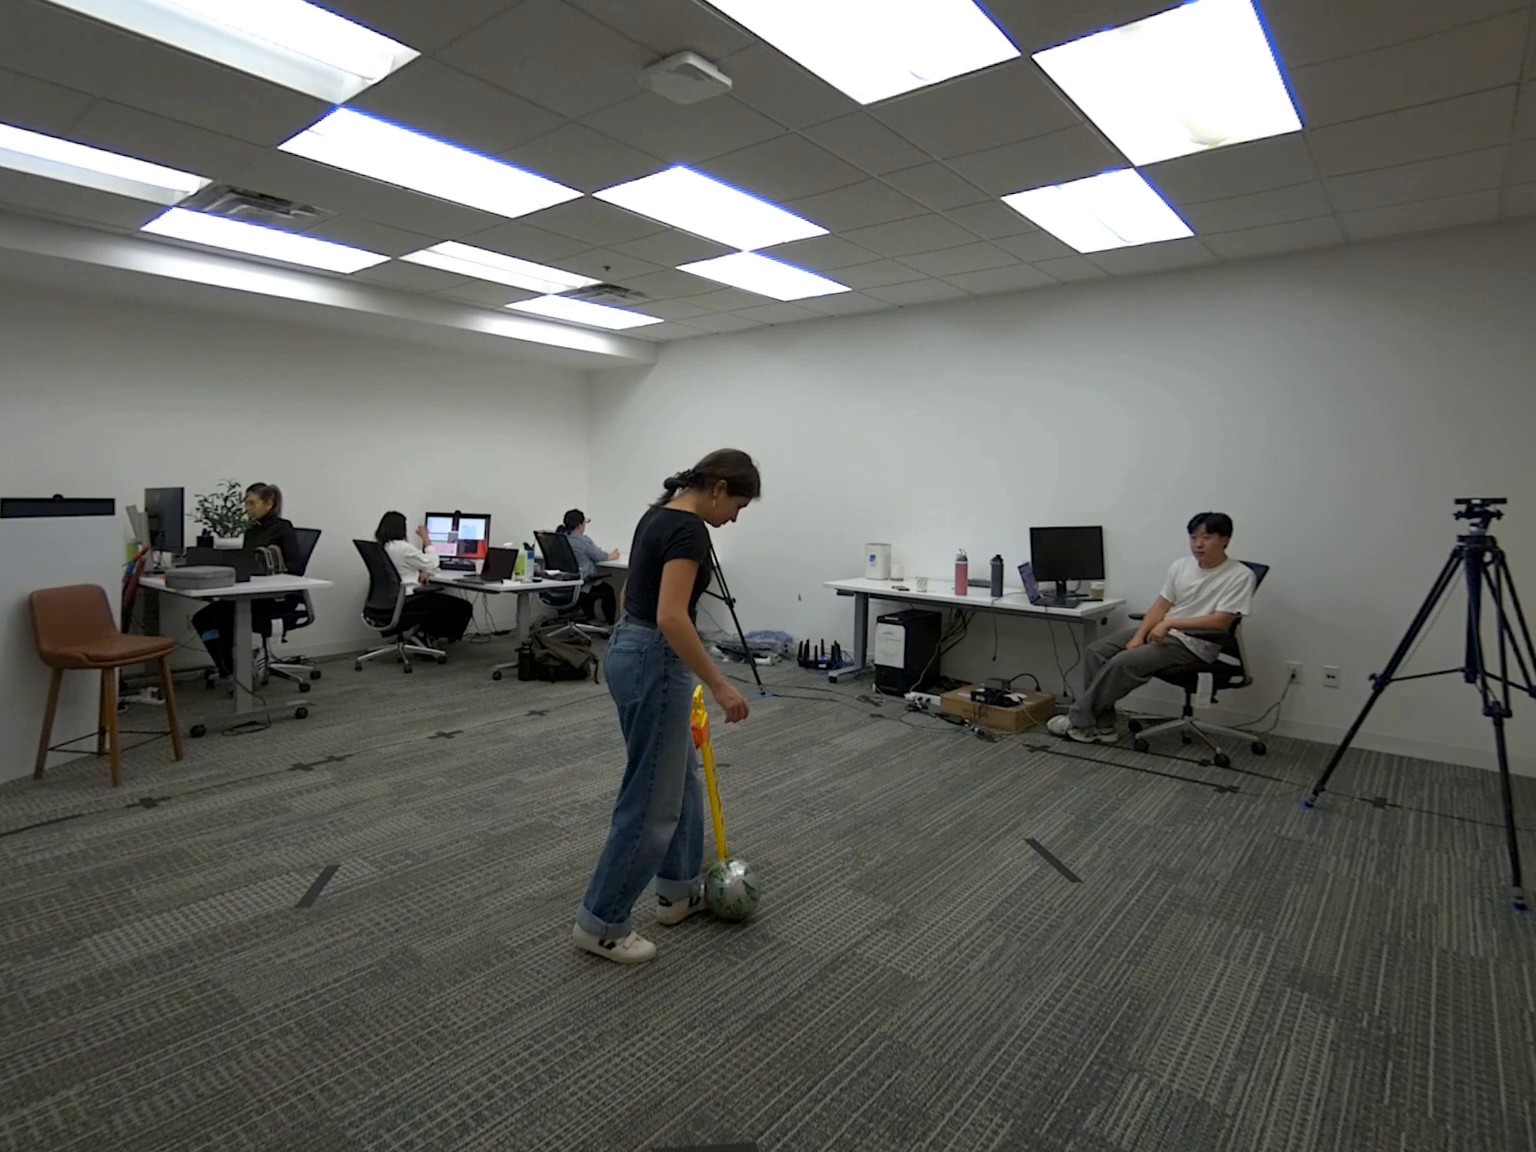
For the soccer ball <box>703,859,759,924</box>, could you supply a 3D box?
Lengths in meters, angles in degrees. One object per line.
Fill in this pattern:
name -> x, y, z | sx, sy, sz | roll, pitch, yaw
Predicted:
soccer ball -> -0.115, 1.016, 2.742 | 0.187, 0.187, 0.188 | 1, 4, -2
